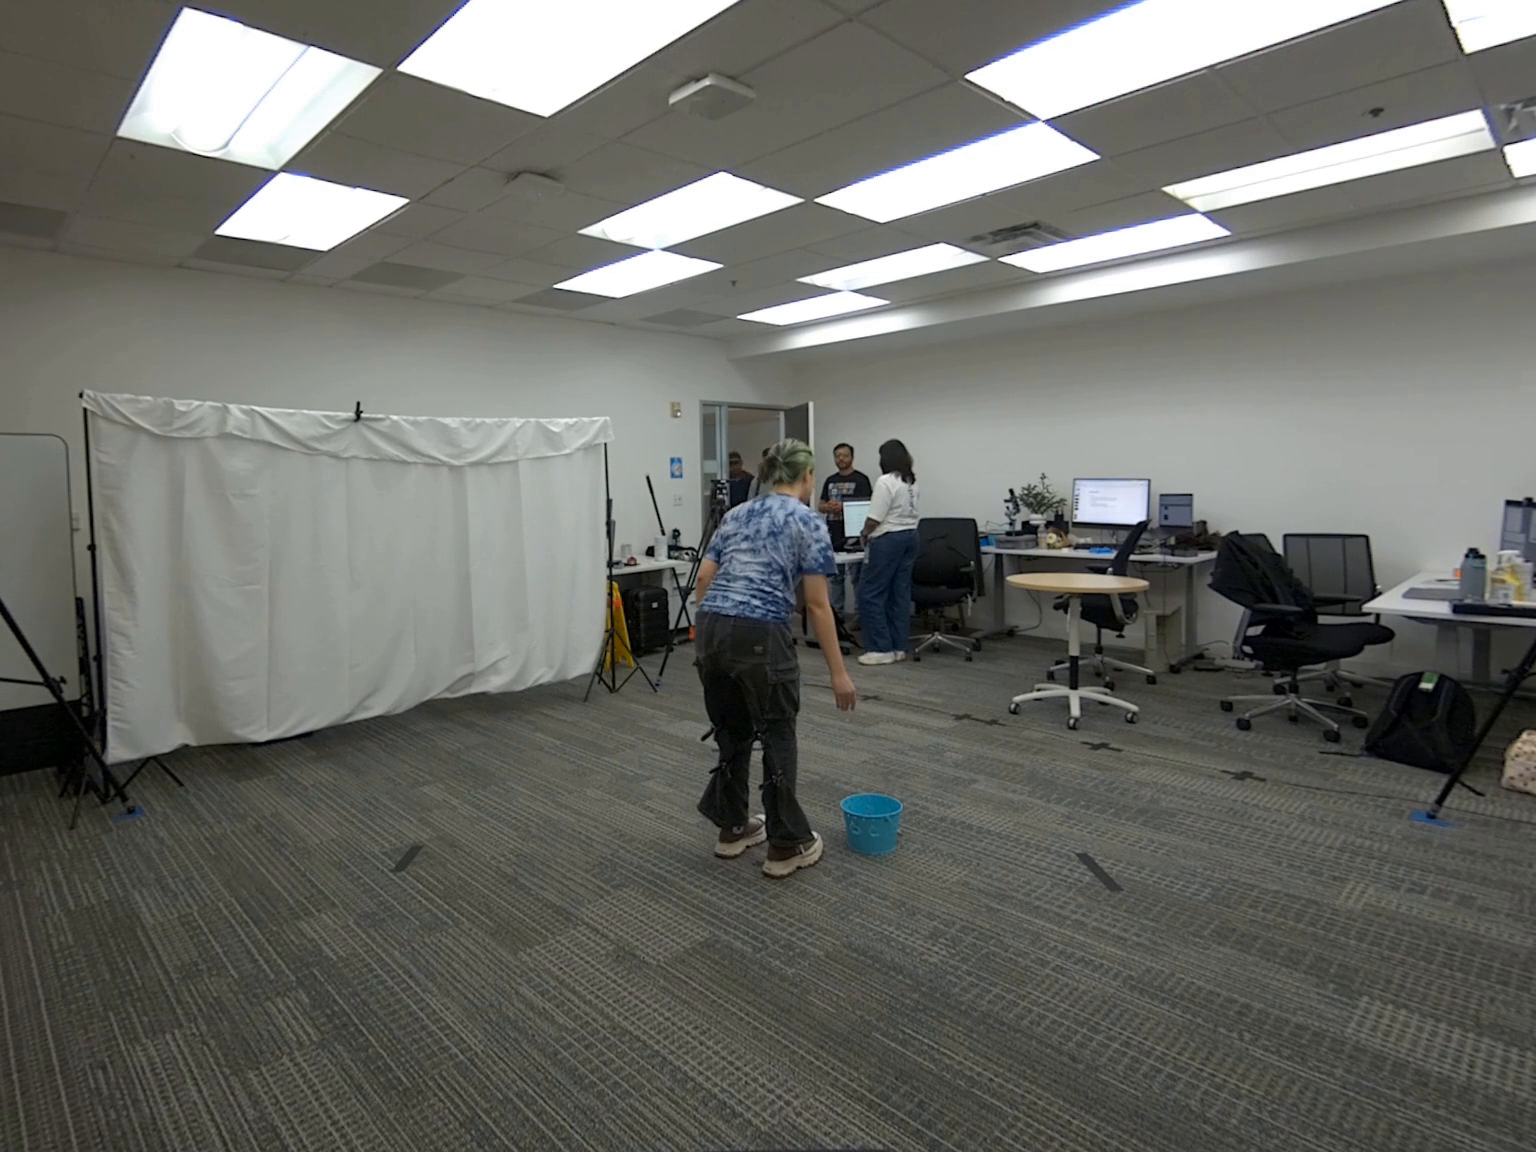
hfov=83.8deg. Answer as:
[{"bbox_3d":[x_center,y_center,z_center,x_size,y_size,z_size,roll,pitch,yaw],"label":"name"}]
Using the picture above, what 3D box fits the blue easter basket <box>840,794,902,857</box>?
[{"bbox_3d":[0.402,0.943,3.253,0.243,0.155,0.245,-1,5,-2],"label":"blue easter basket"}]
